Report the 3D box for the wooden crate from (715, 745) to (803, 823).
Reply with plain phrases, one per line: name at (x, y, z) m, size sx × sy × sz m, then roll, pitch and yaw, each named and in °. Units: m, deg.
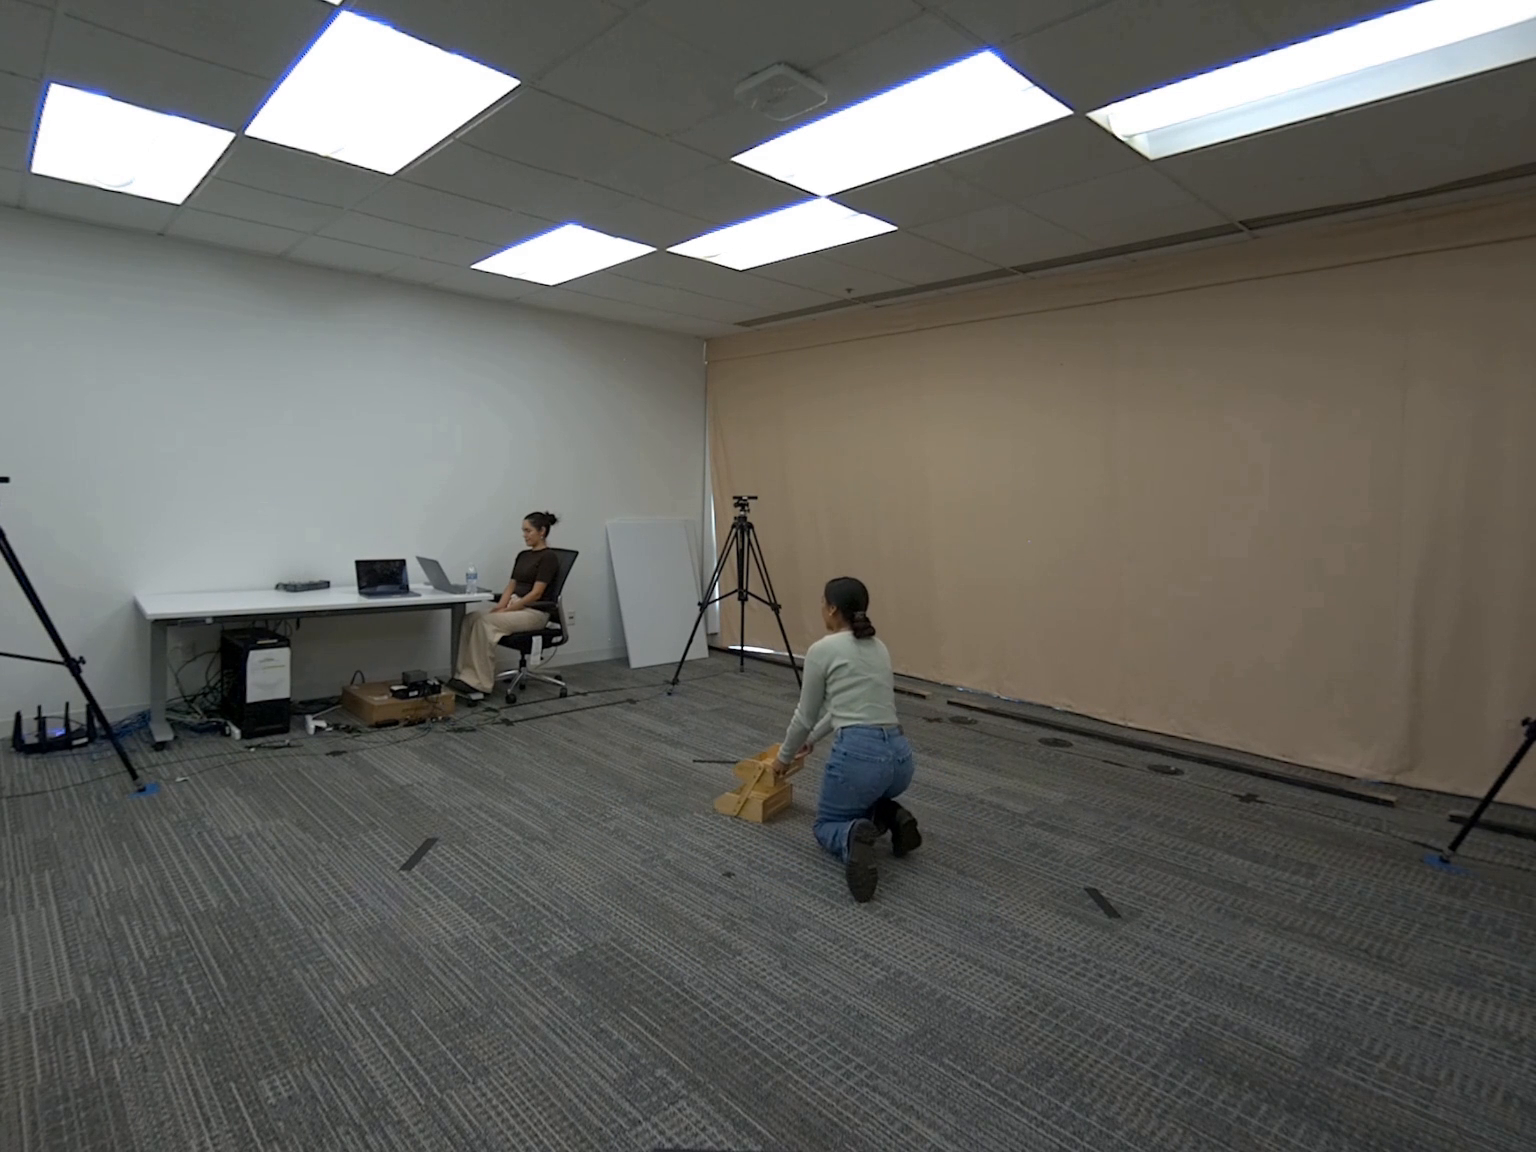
wooden crate at (-0.051, 0.911, 3.791) m, size 0.308 × 0.272 × 0.318 m, roll 5°, pitch 5°, yaw 28°
